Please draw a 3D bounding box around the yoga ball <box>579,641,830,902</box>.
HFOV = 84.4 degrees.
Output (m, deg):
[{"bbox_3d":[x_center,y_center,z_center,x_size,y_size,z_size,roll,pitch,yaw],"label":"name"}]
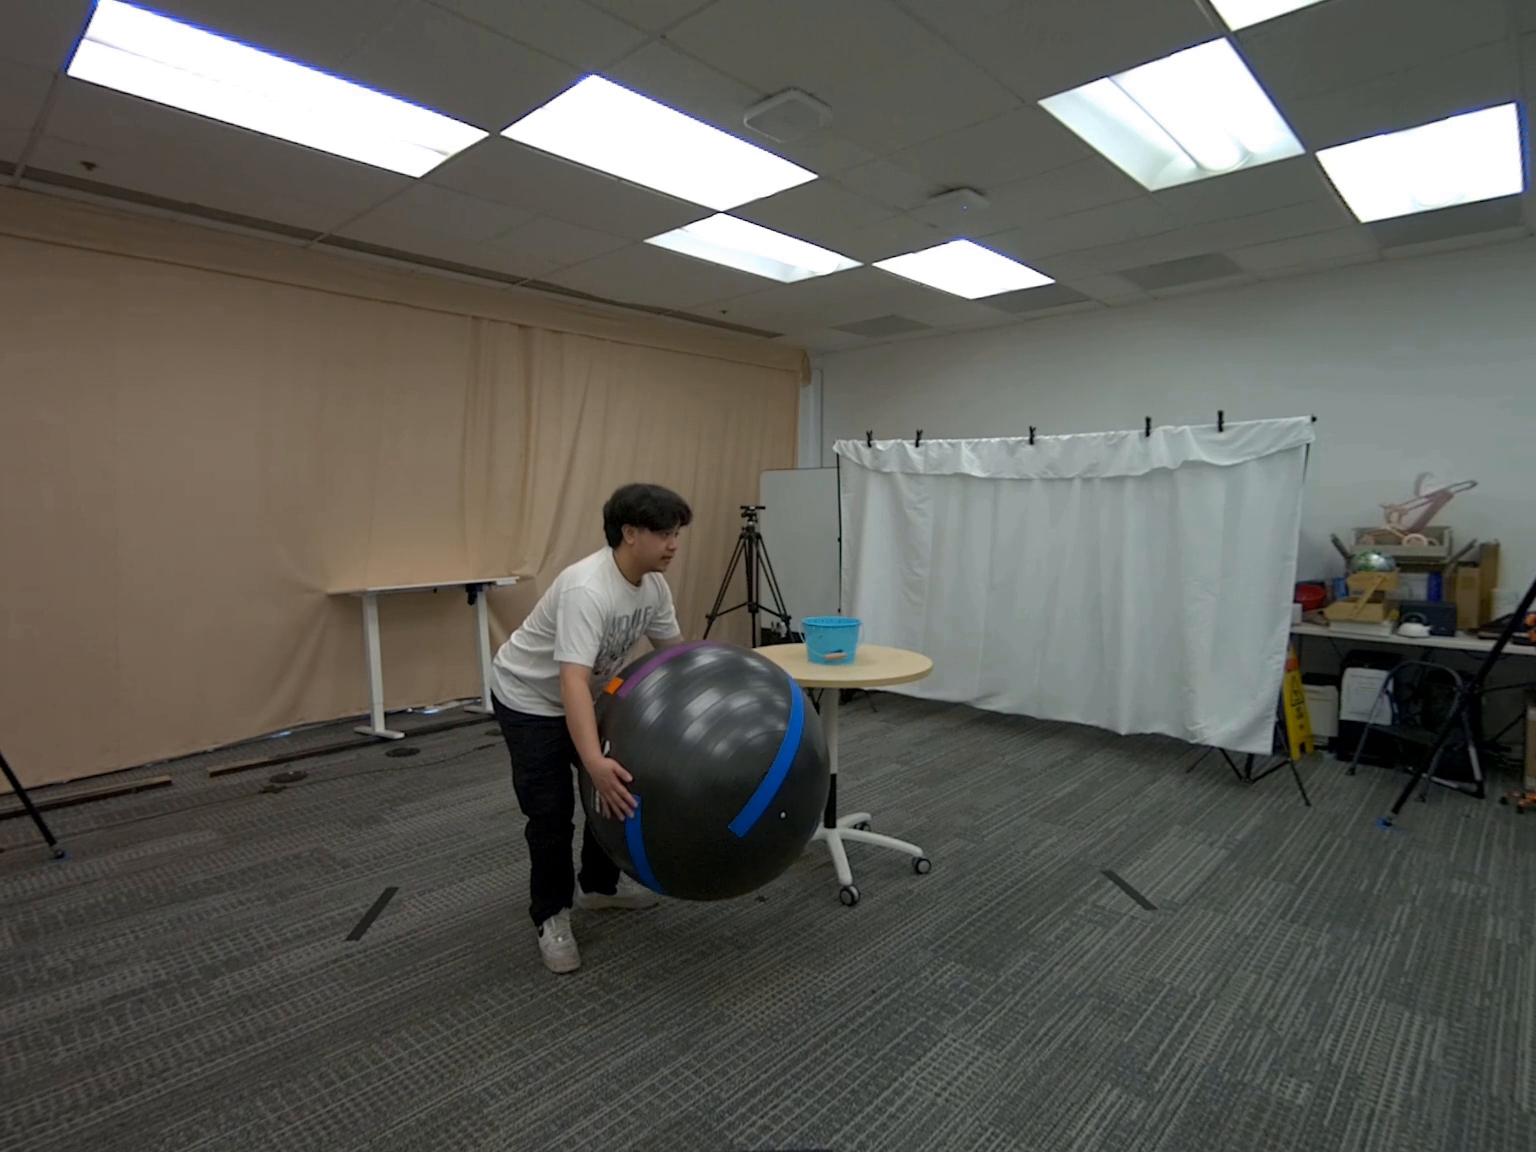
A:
[{"bbox_3d":[-0.190,0.589,2.526,0.757,0.756,0.761,0,4,-2],"label":"yoga ball"}]
